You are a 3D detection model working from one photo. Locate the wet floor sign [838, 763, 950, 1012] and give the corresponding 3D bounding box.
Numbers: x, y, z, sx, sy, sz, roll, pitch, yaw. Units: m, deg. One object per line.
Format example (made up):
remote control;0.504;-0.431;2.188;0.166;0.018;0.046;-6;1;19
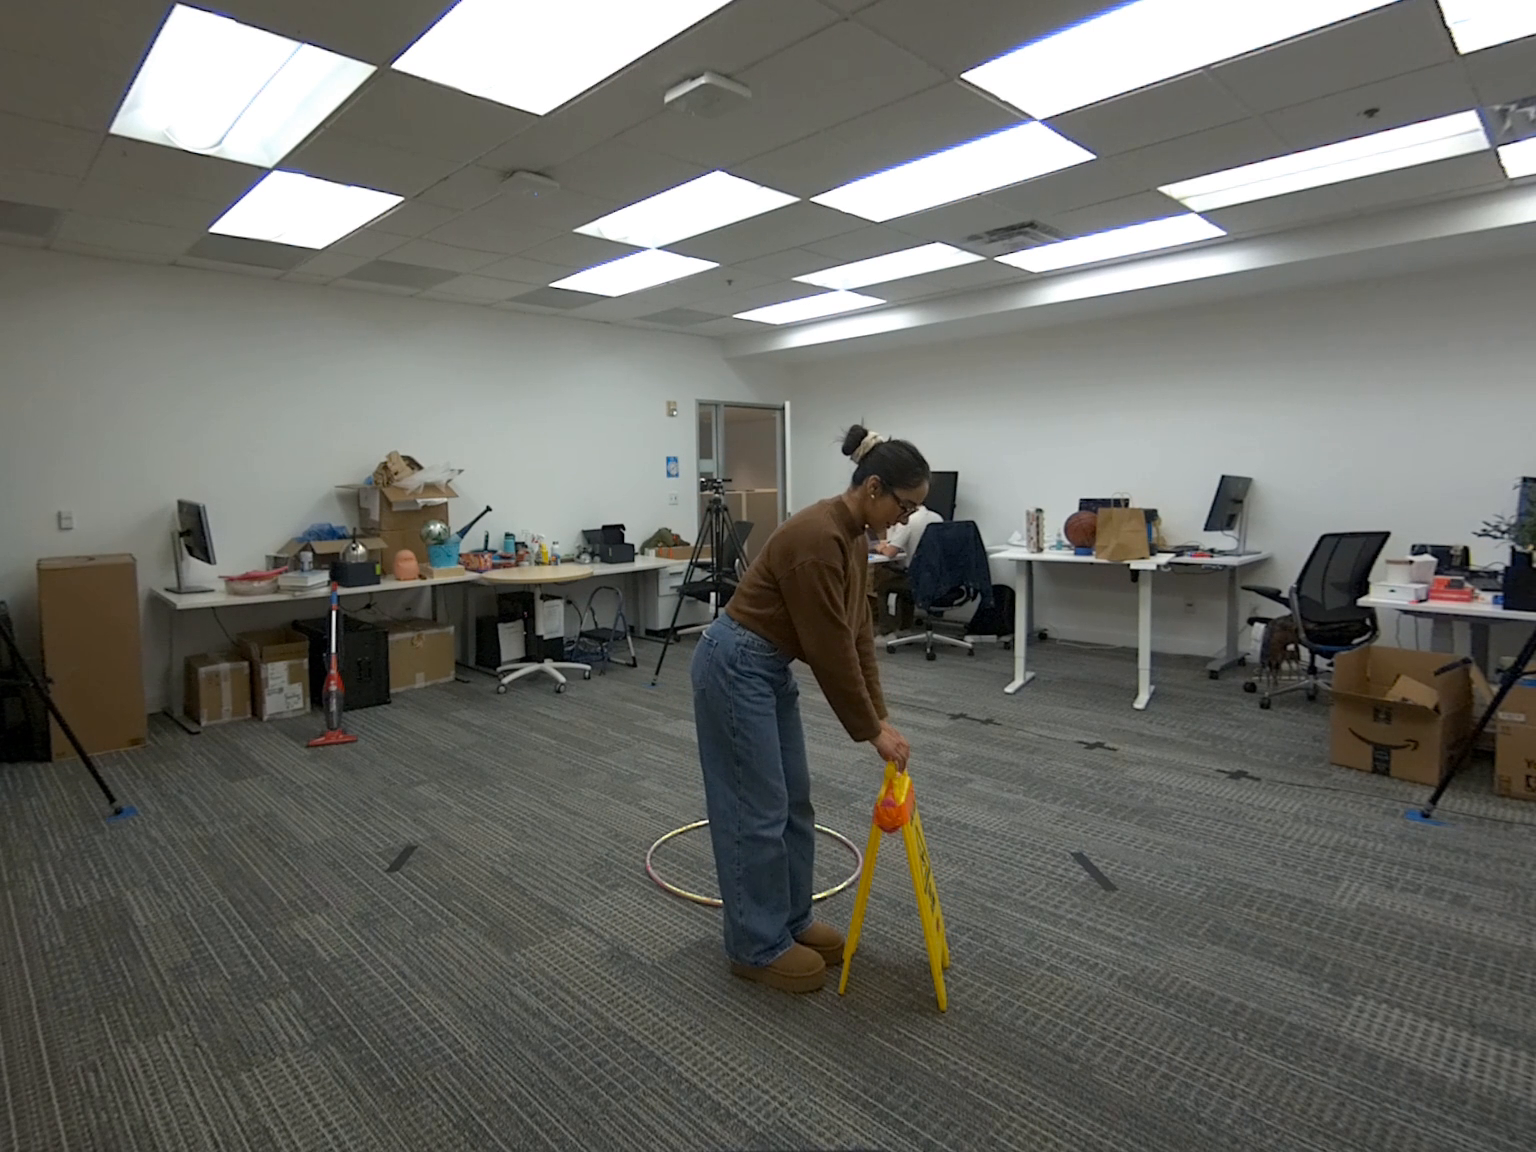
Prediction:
wet floor sign;0.355;0.789;2.370;0.294;0.643;0.279;1;6;16
